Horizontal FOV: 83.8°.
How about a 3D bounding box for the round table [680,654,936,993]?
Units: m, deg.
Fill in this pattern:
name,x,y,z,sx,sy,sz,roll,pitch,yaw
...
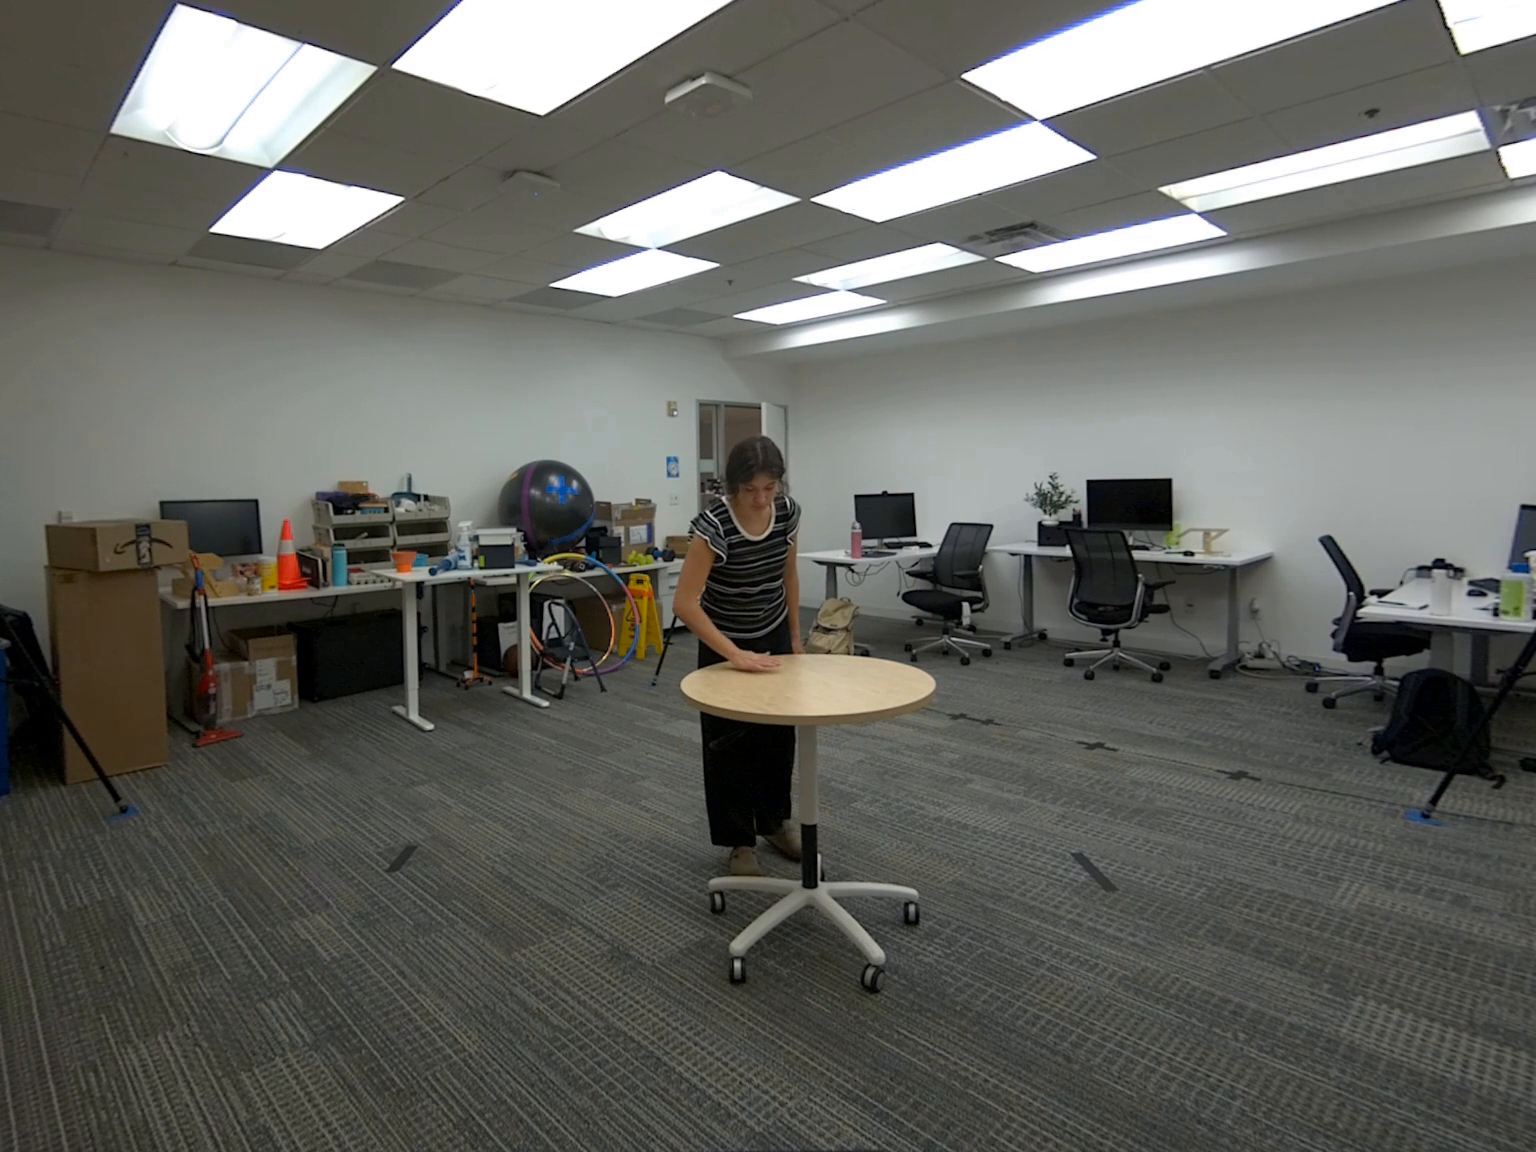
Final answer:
name,x,y,z,sx,sy,sz,roll,pitch,yaw
round table,0.132,0.711,2.617,0.763,0.791,0.768,-2,5,-2
